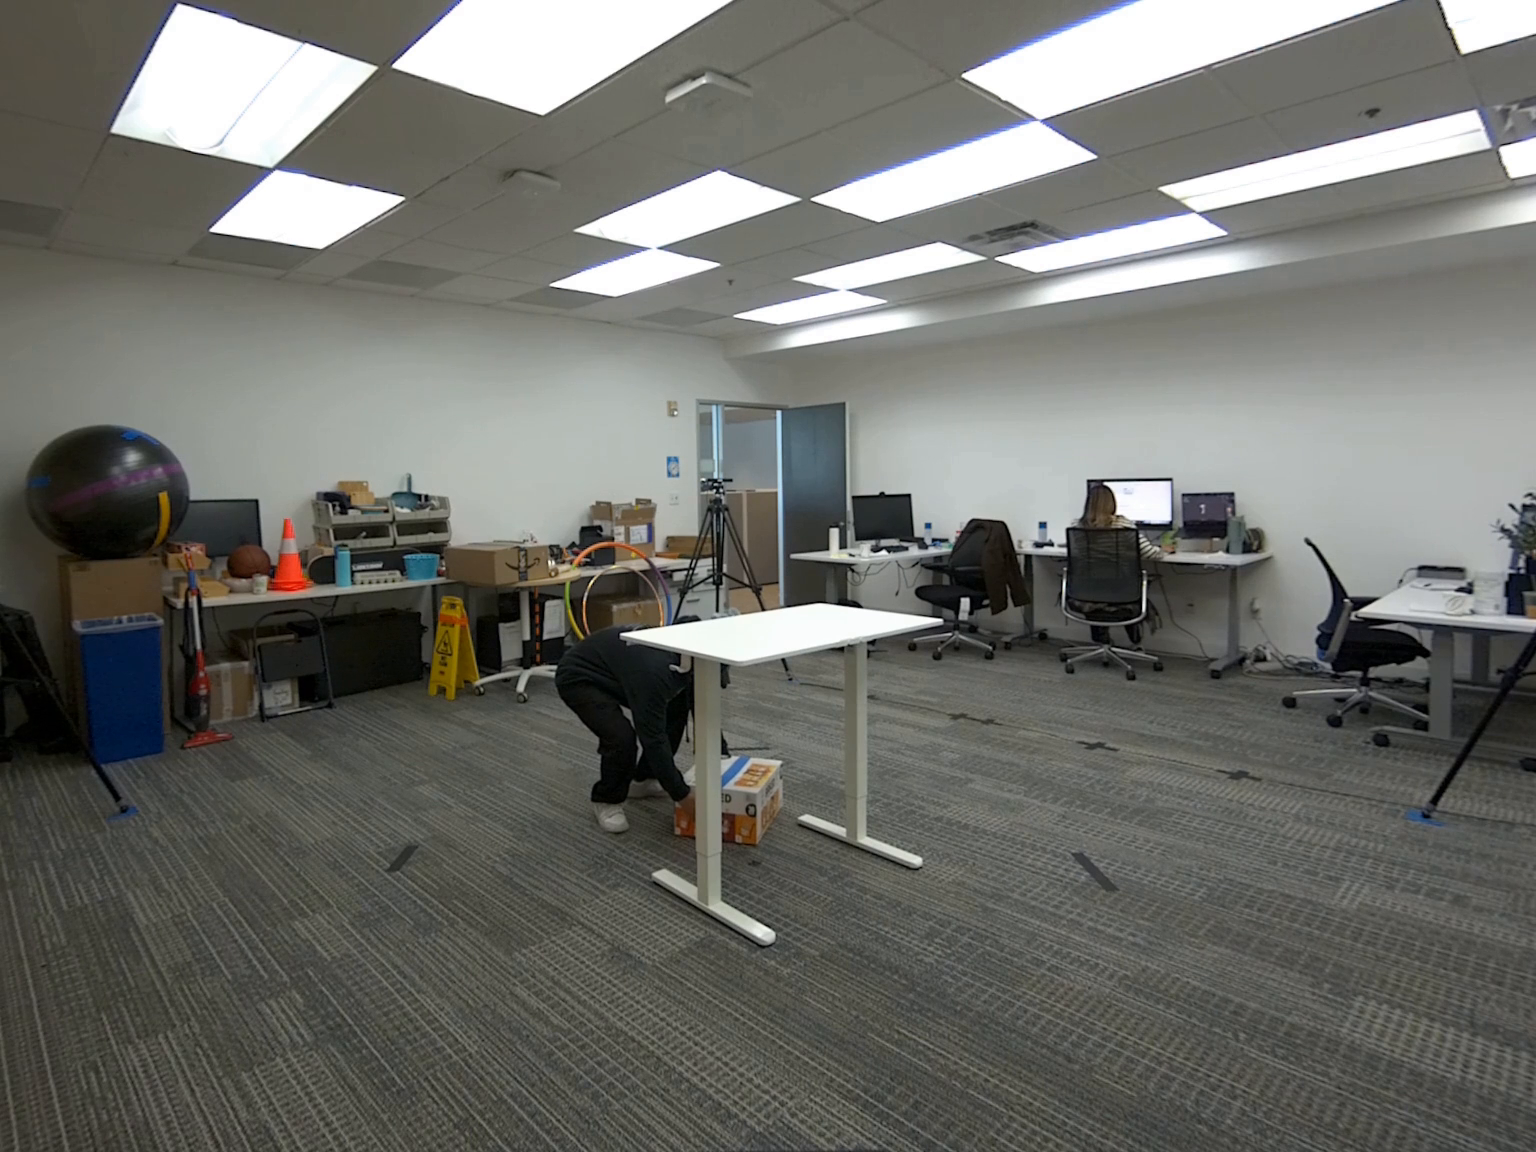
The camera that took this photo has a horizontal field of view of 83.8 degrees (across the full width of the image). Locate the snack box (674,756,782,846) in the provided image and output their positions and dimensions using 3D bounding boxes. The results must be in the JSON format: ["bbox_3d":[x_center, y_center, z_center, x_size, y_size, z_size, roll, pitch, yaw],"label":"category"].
[{"bbox_3d":[-0.152,0.901,3.490,0.346,0.205,0.400,2,6,16],"label":"snack box"}]
